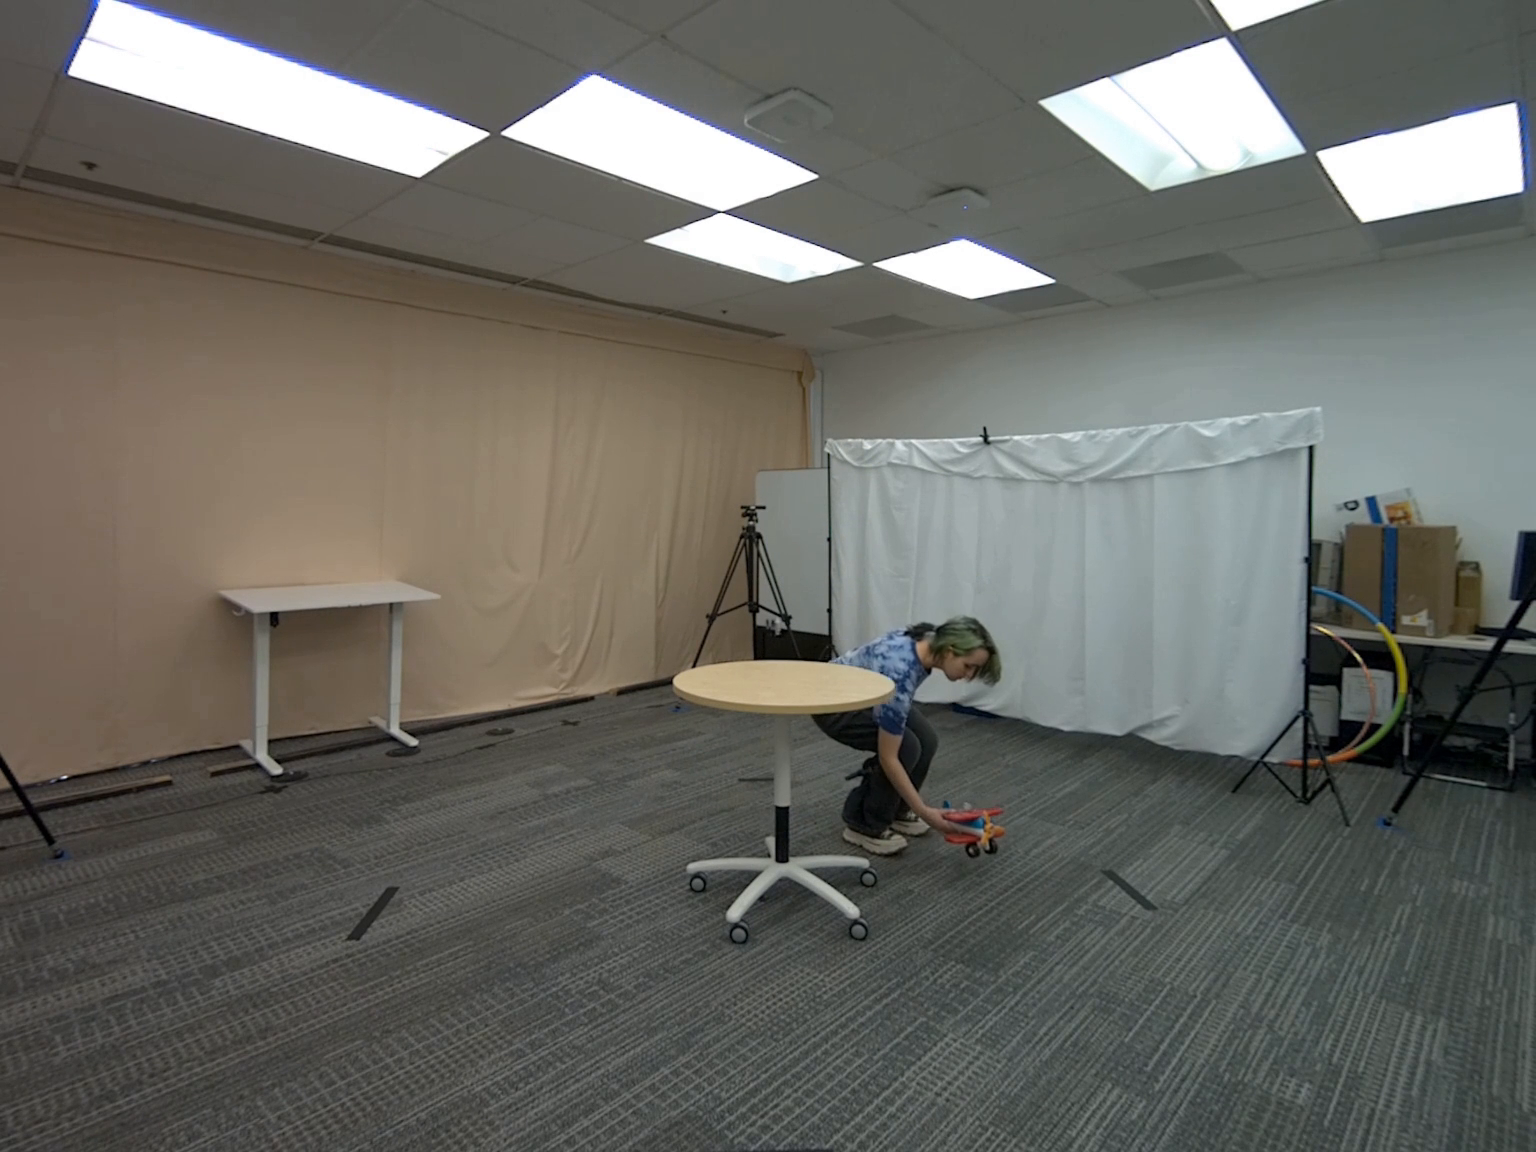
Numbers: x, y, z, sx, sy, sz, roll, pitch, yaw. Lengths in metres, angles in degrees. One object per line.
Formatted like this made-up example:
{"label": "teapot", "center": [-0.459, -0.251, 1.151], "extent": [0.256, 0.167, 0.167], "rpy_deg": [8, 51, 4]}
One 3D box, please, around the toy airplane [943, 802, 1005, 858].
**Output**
{"label": "toy airplane", "center": [0.735, 0.924, 3.156], "extent": [0.268, 0.156, 0.244], "rpy_deg": [9, 10, 35]}
